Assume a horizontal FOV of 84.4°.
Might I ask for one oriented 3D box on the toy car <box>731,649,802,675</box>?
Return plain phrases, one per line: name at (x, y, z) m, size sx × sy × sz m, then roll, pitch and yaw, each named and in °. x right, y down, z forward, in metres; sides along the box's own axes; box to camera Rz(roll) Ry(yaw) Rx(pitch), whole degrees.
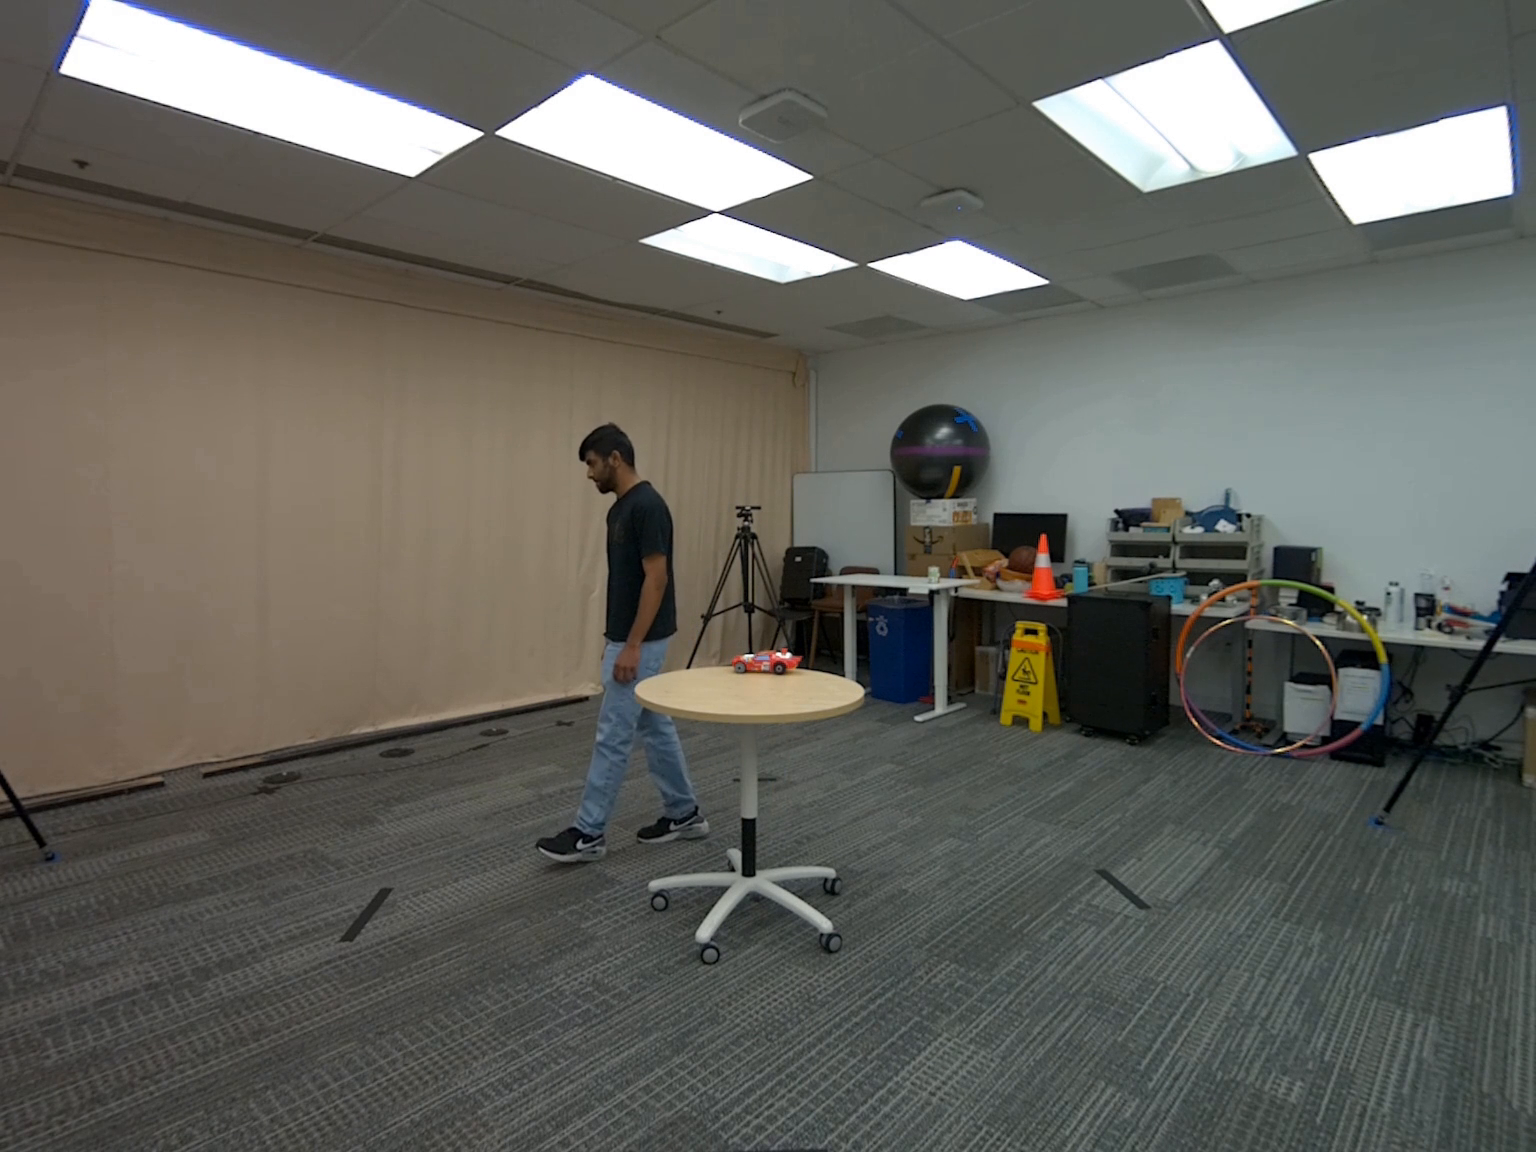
toy car at (0.001, 0.320, 3.094) m, size 0.257 × 0.083 × 0.129 m, roll -10°, pitch 2°, yaw 11°
